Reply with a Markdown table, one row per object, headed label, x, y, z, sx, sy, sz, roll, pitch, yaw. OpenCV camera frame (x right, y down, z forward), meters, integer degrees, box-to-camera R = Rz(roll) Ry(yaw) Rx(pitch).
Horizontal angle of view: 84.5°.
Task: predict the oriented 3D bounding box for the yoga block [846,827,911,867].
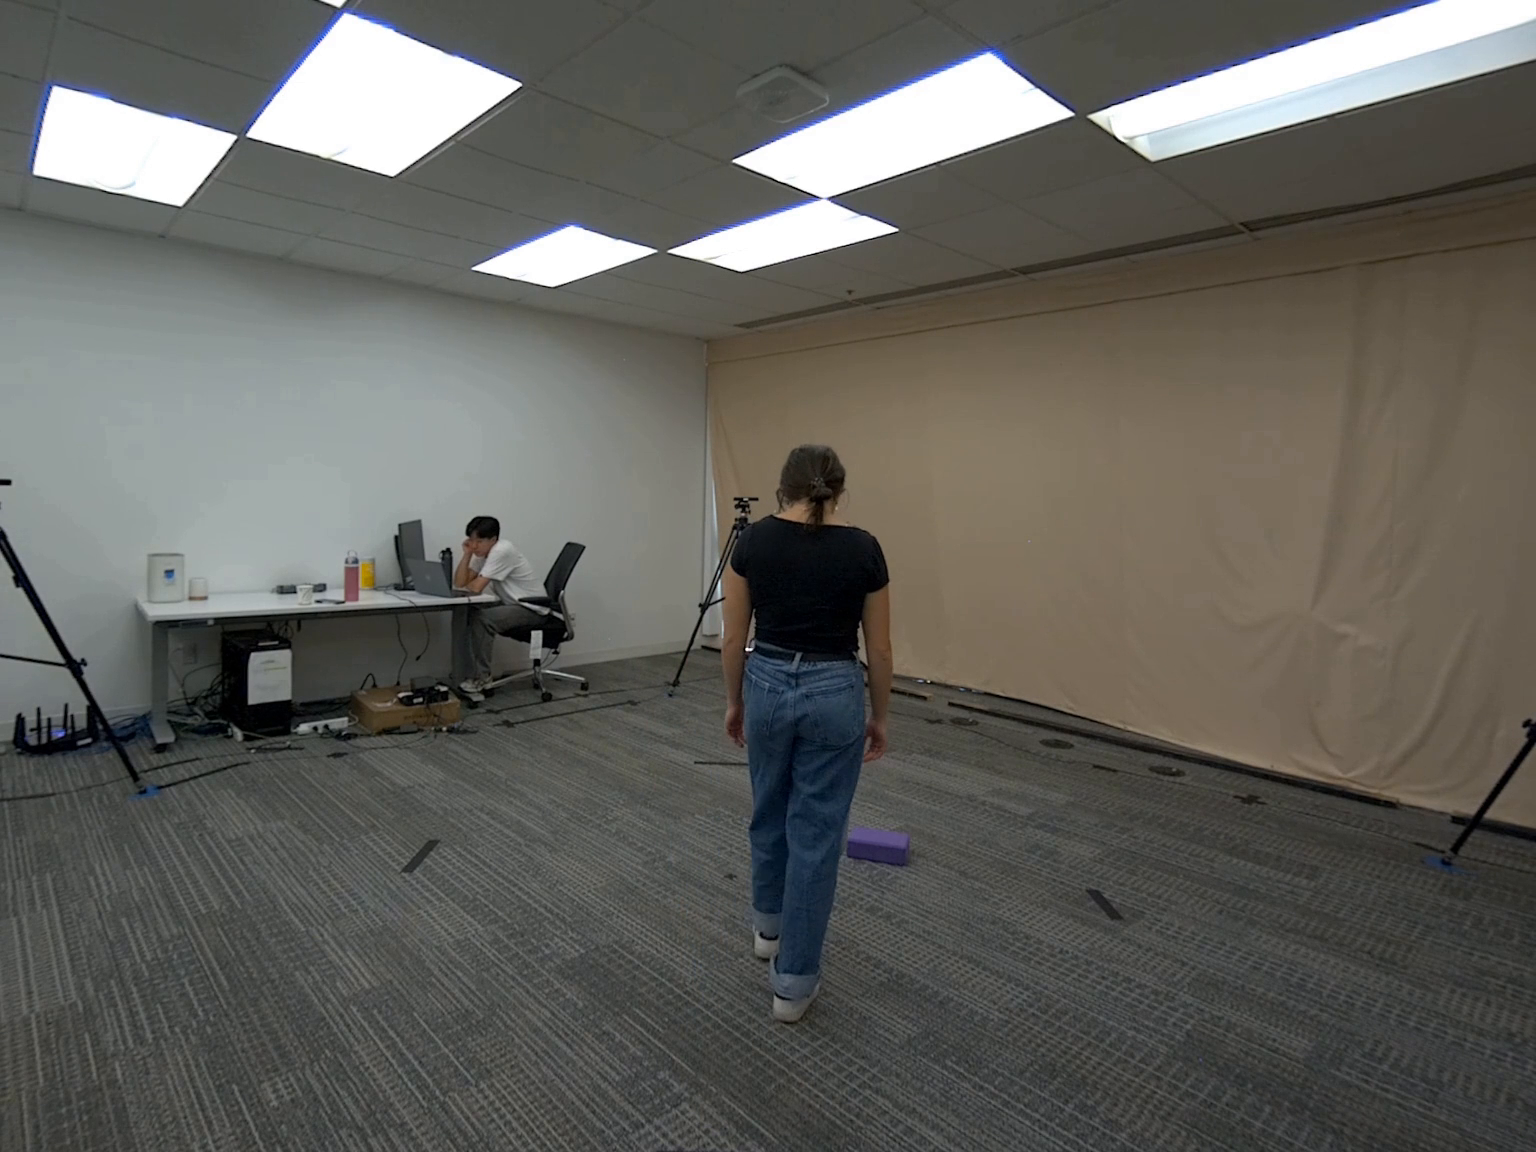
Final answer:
| label | x | y | z | sx | sy | sz | roll | pitch | yaw |
| --- | --- | --- | --- | --- | --- | --- | --- | --- | --- |
| yoga block | 0.426 | 1.063 | 3.318 | 0.233 | 0.076 | 0.147 | 2 | 6 | 18 |
